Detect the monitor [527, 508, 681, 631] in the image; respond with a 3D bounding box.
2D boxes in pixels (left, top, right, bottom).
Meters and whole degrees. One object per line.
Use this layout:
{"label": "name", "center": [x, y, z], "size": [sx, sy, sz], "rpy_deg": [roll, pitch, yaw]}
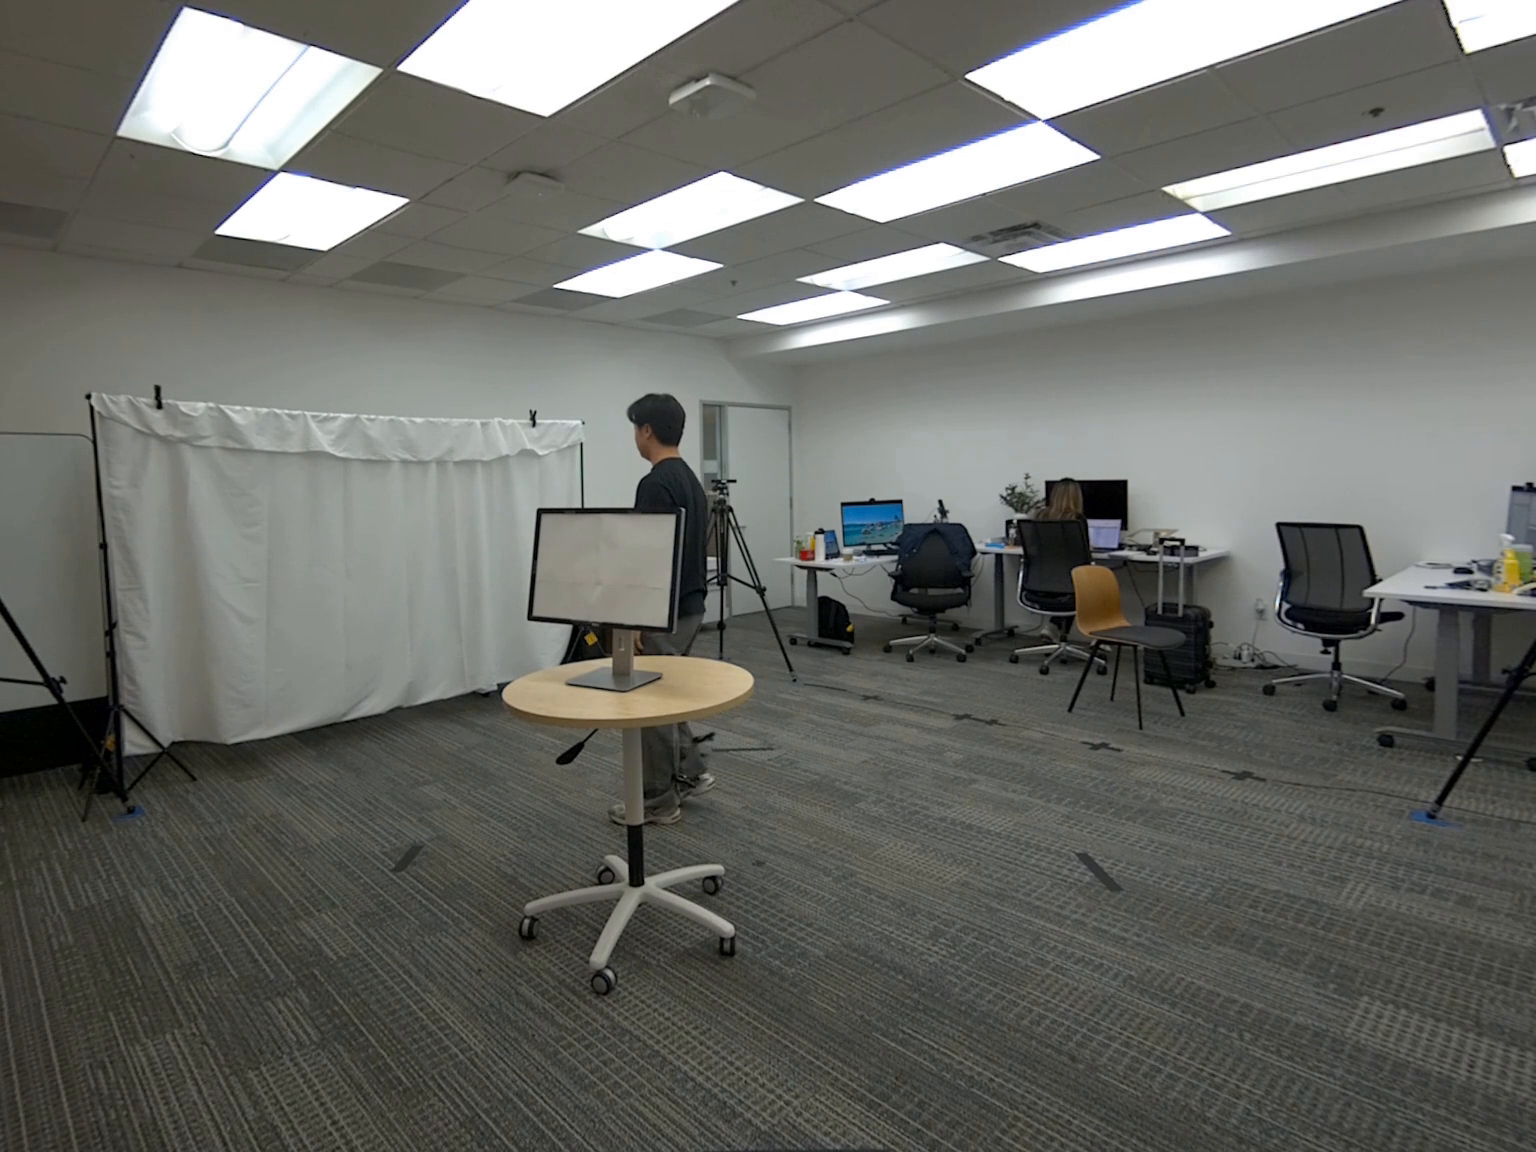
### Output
{"label": "monitor", "center": [-0.489, 0.074, 2.638], "size": [0.577, 0.562, 0.217], "rpy_deg": [2, 8, 33]}
